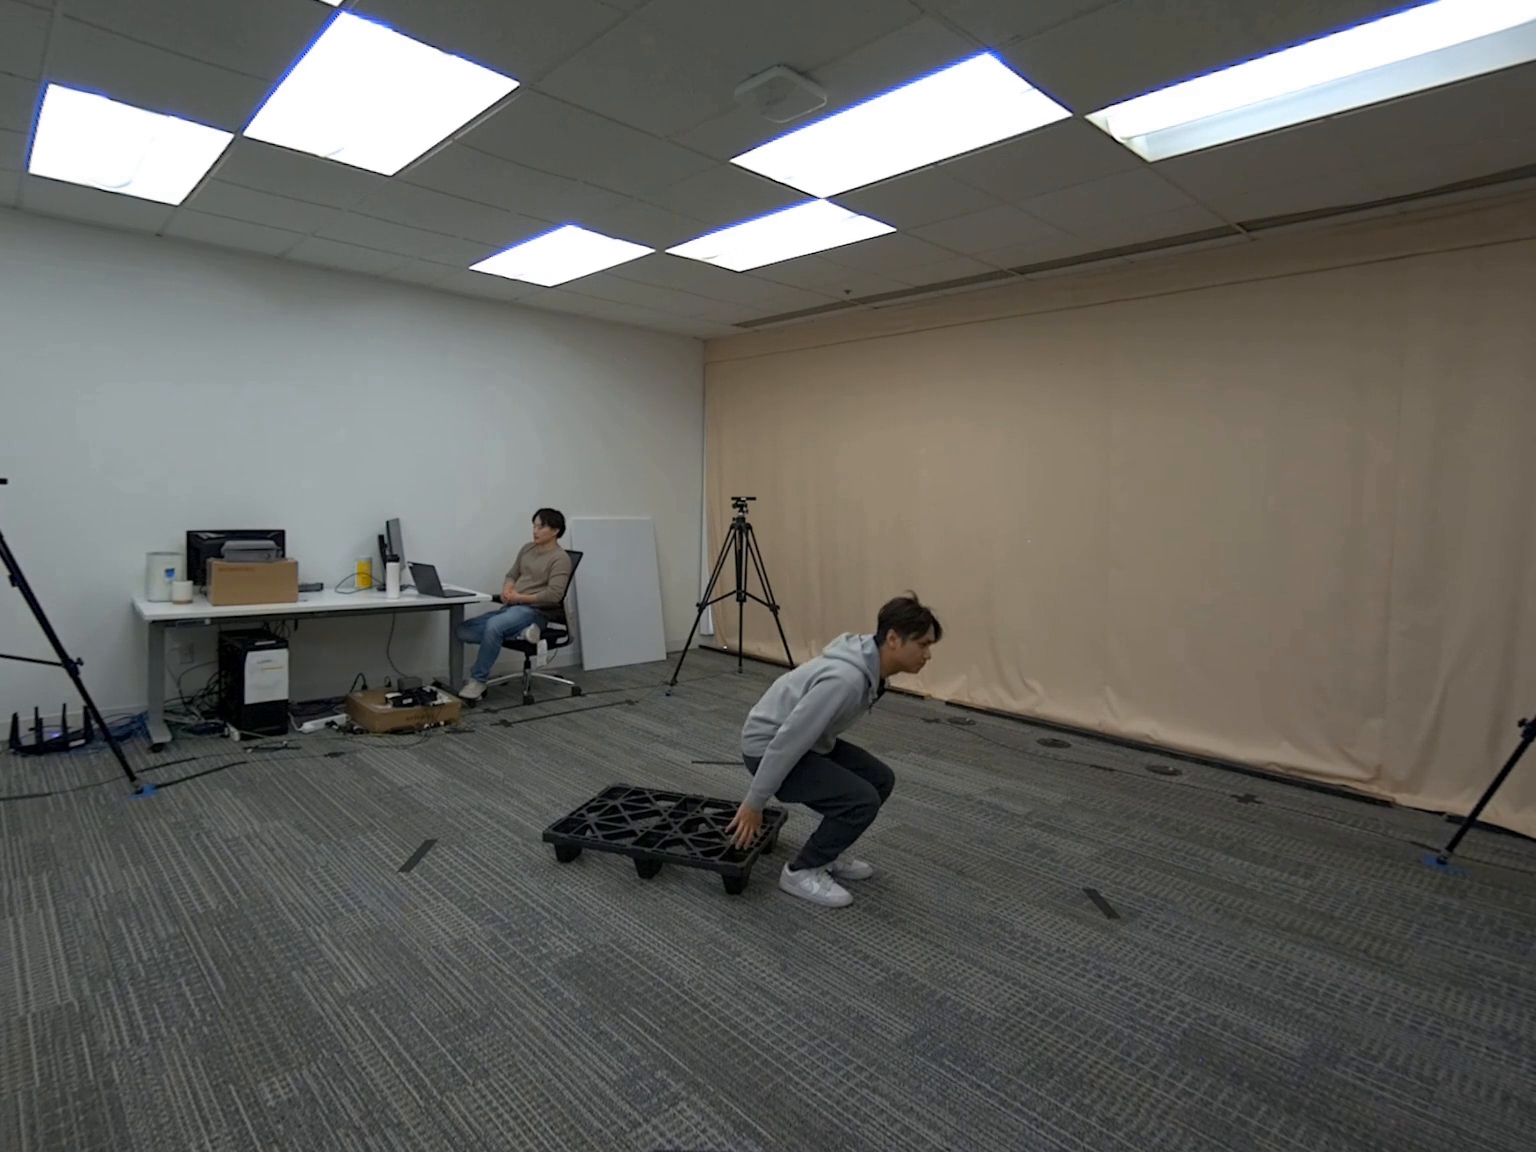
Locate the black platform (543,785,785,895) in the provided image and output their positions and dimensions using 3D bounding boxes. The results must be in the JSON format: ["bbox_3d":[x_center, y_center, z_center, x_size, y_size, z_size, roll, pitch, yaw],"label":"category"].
[{"bbox_3d":[-0.383,1.016,3.286,0.818,0.143,0.598,3,6,18],"label":"black platform"}]
